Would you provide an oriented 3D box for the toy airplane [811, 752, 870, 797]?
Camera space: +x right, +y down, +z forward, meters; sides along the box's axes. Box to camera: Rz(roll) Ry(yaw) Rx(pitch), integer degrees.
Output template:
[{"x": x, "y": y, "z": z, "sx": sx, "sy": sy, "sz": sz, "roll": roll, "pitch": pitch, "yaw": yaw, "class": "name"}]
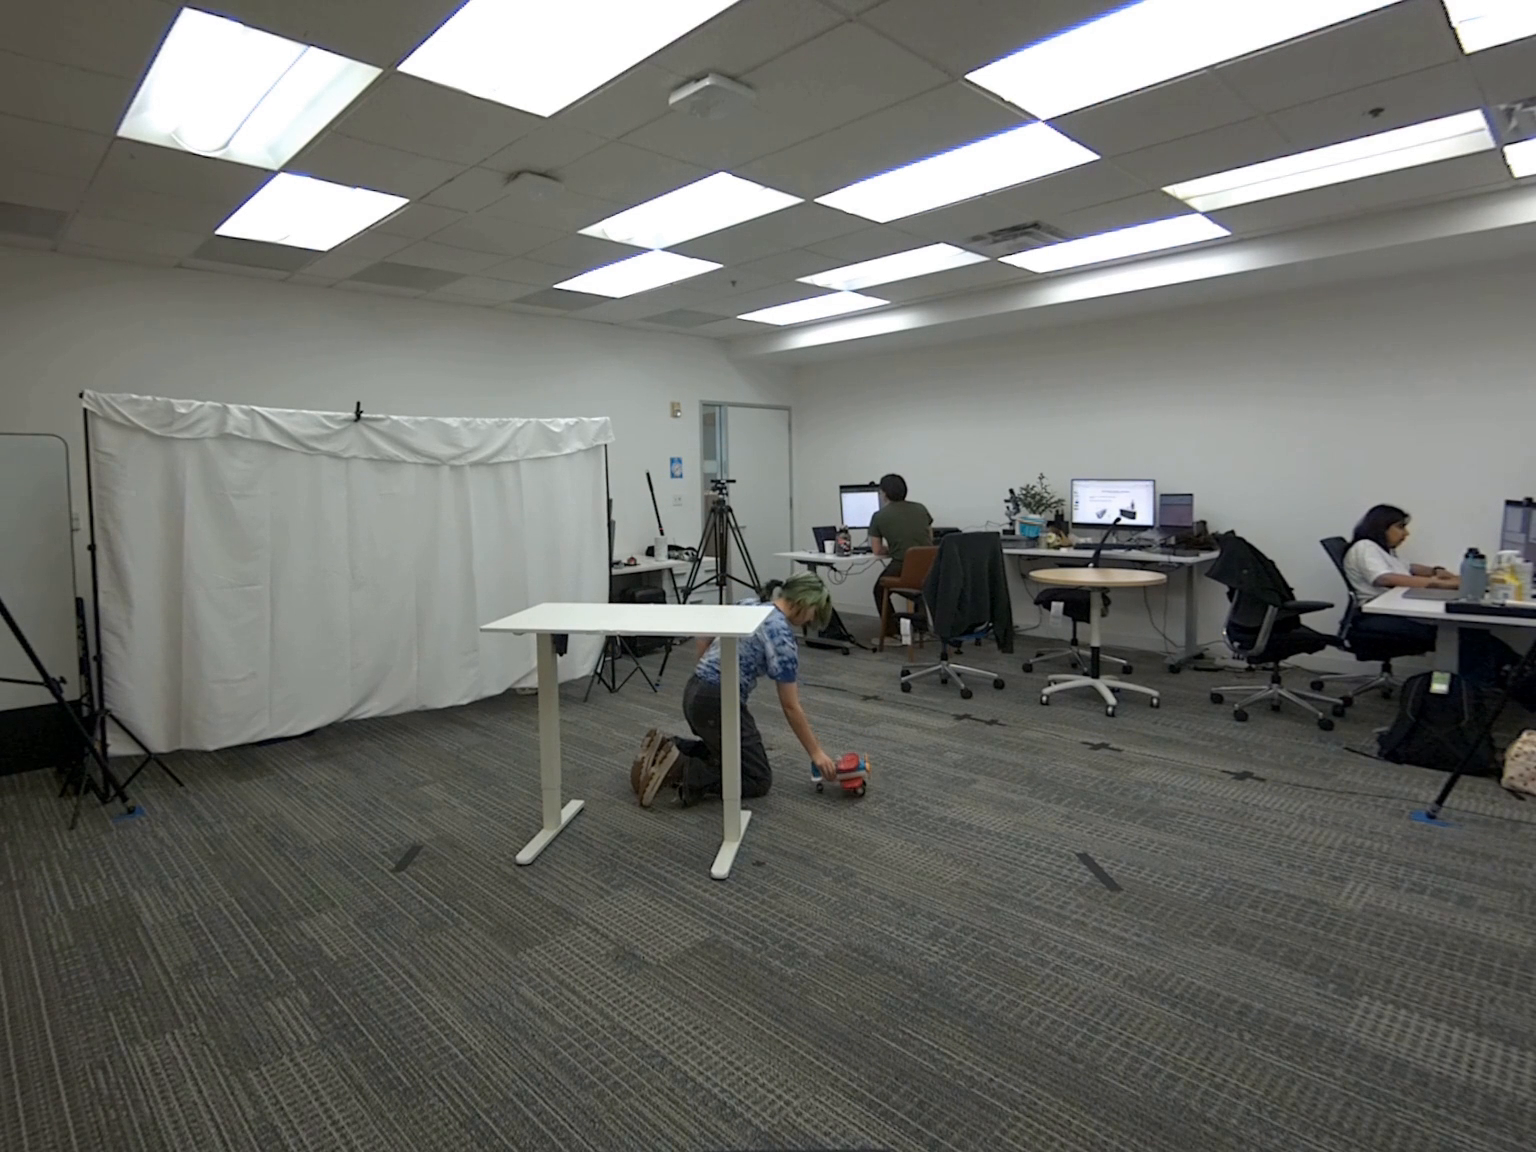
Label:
[{"x": 0.320, "y": 0.877, "z": 3.771, "sx": 0.255, "sy": 0.156, "sz": 0.256, "roll": 1, "pitch": 4, "yaw": -18, "class": "toy airplane"}]
